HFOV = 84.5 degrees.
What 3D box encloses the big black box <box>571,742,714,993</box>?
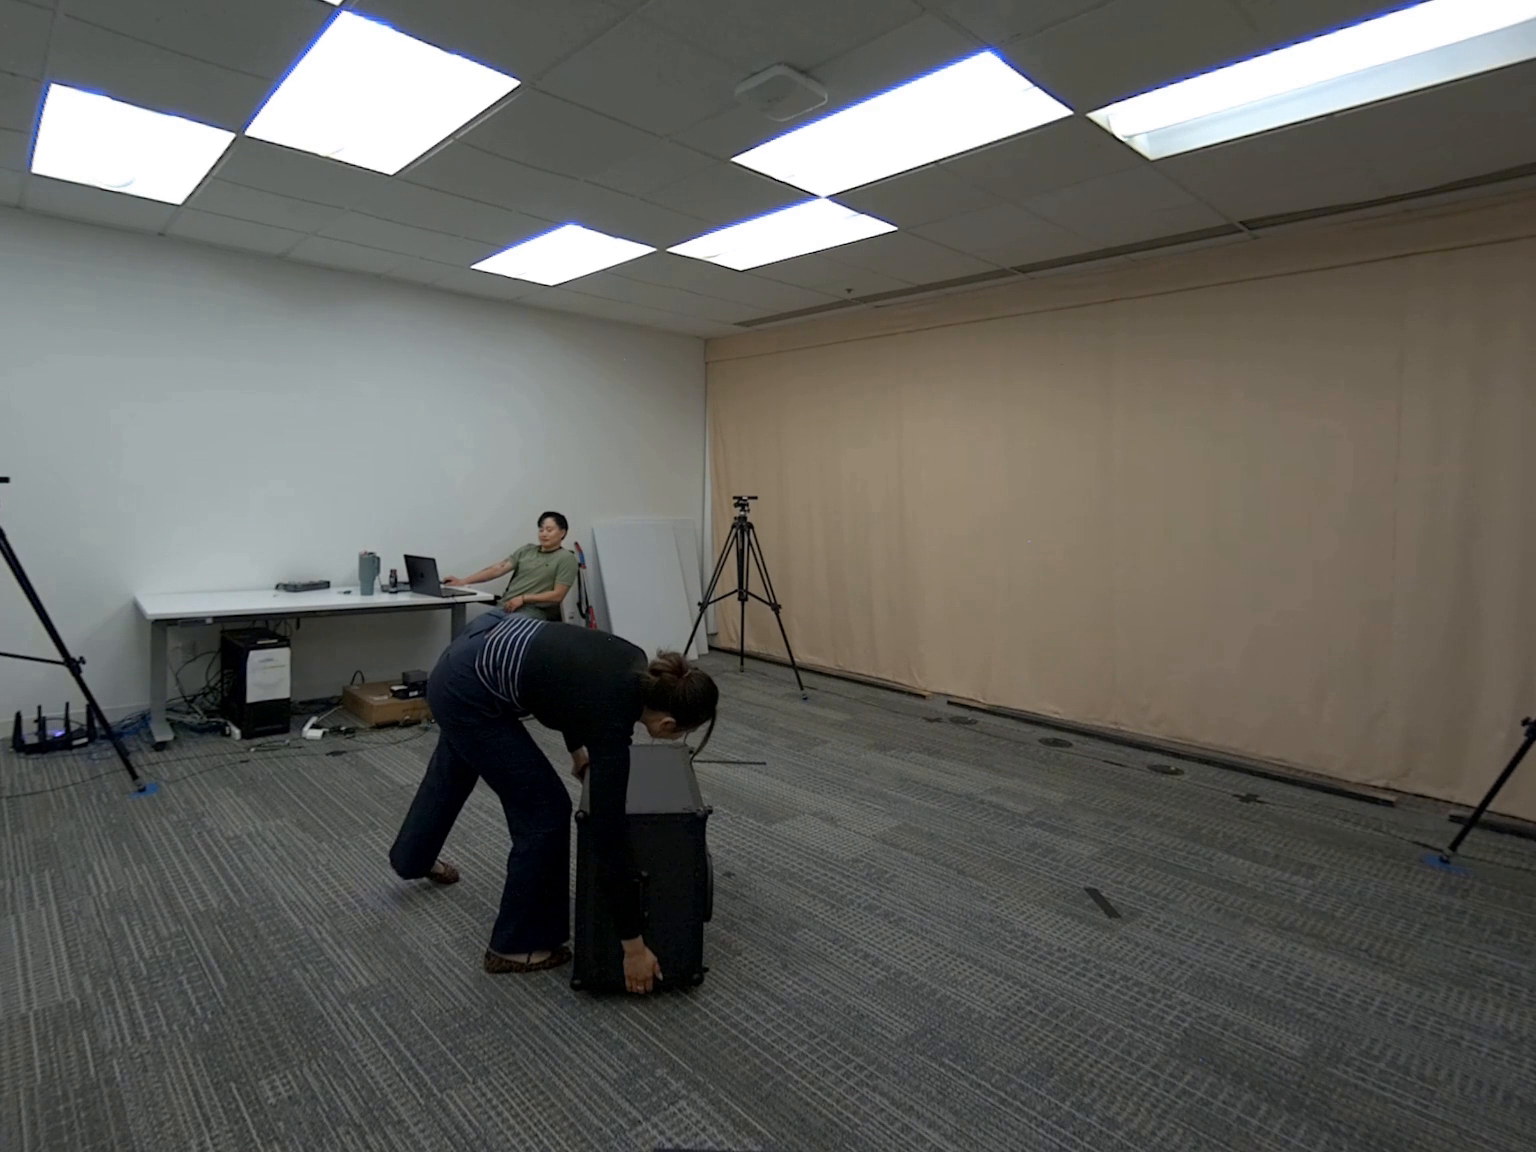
[{"bbox_3d":[-0.413,0.862,2.721,0.393,0.520,0.869,2,3,-10],"label":"big black box"}]
